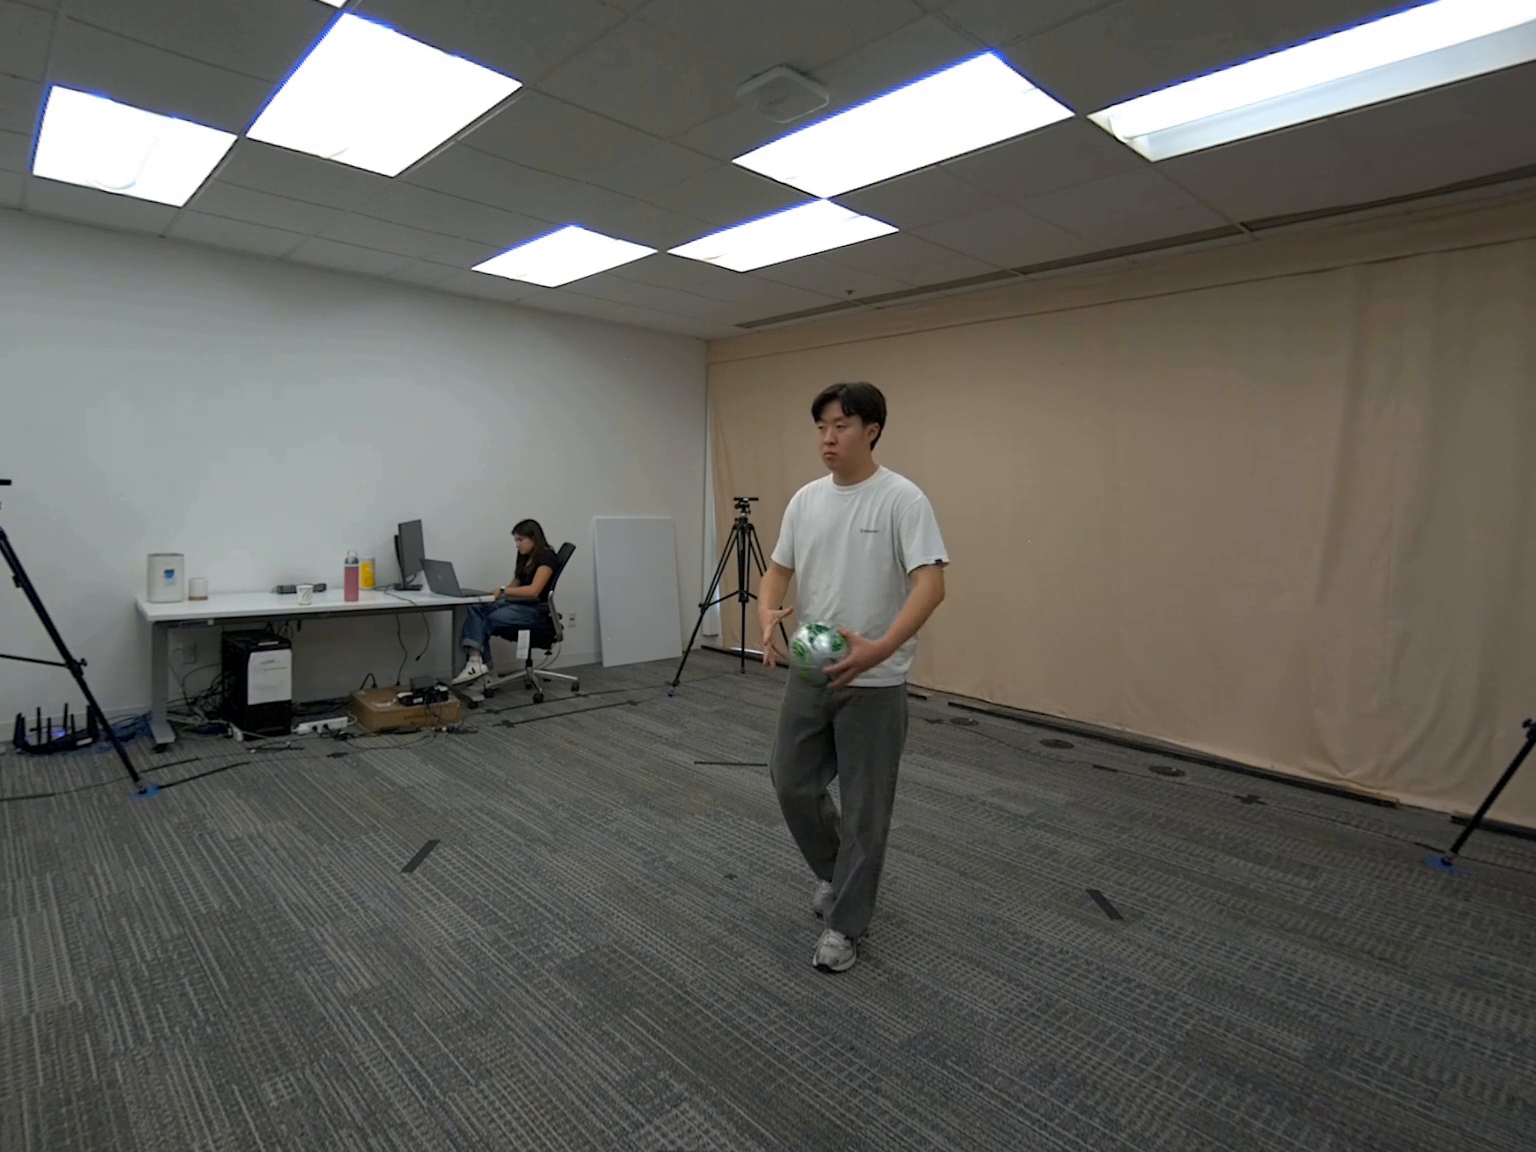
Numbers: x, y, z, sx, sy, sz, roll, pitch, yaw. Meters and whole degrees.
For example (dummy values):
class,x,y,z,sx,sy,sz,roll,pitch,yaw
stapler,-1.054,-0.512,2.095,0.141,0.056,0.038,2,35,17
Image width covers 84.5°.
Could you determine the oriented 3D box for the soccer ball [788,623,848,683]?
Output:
class,x,y,z,sx,sy,sz,roll,pitch,yaw
soccer ball,0.175,0.220,2.337,0.187,0.187,0.188,1,4,-1
